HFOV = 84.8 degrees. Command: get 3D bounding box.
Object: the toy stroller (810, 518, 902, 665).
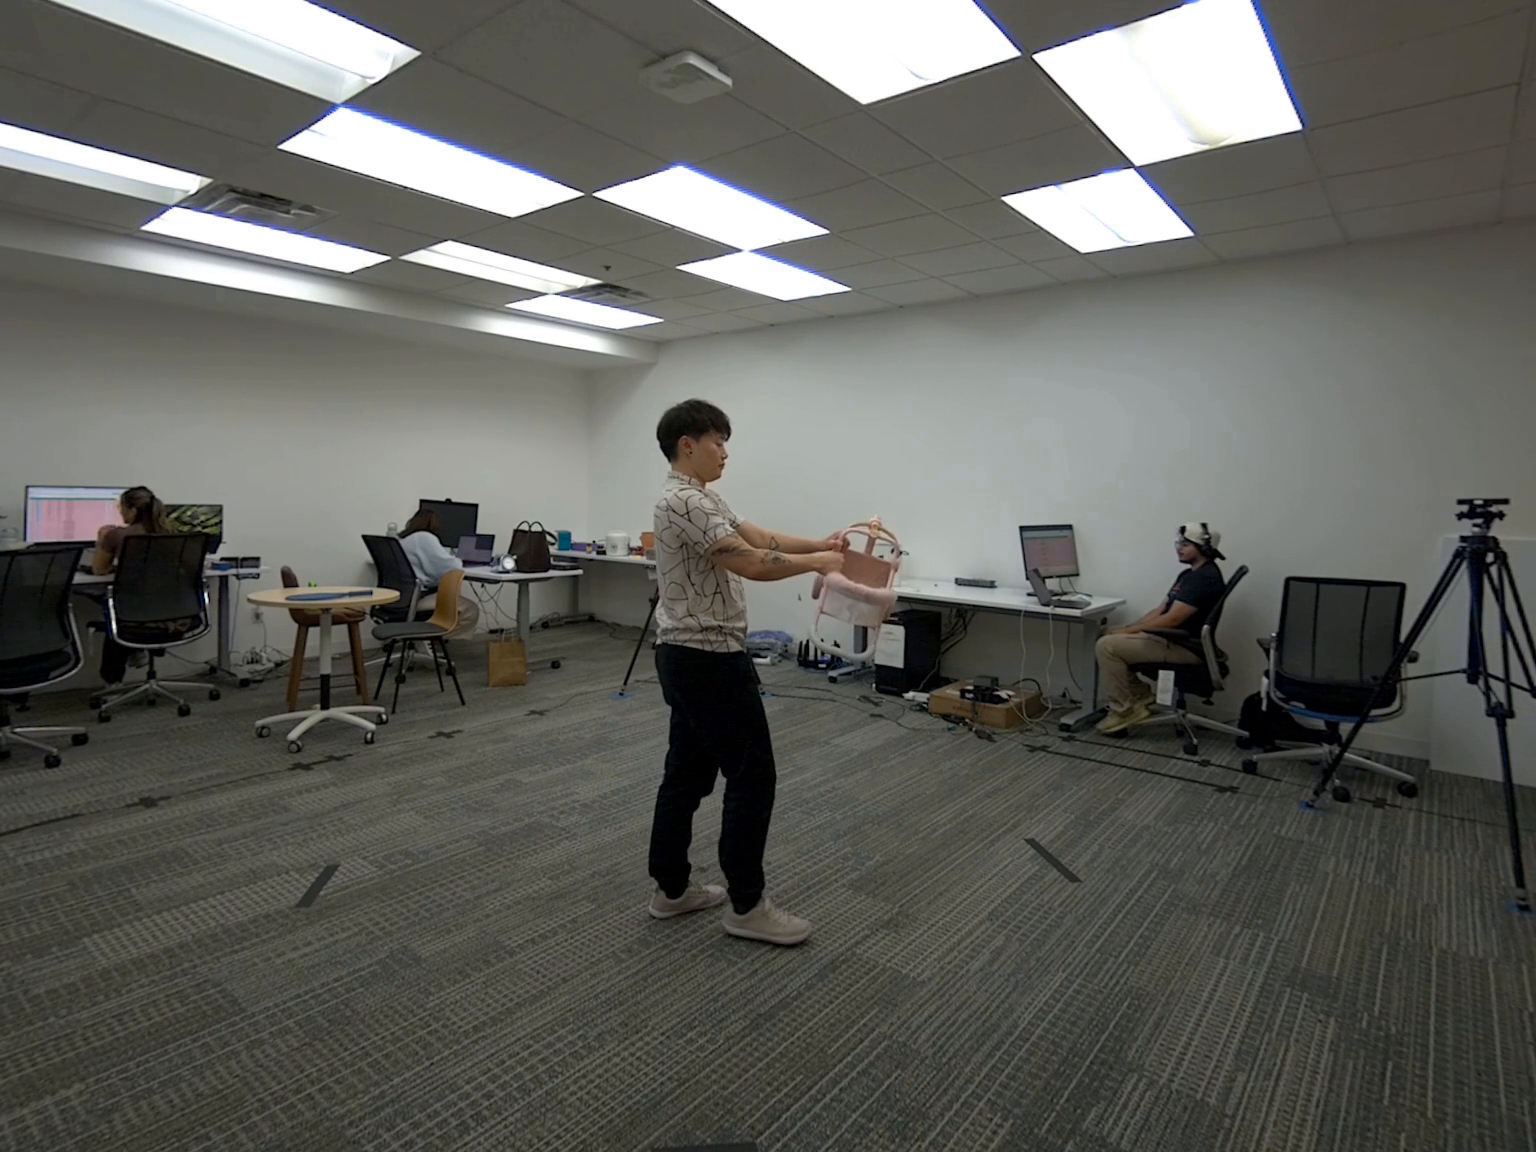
[{"bbox_3d":[0.293,0.010,2.728,0.283,0.338,0.537,22,18,3],"label":"toy stroller"}]
